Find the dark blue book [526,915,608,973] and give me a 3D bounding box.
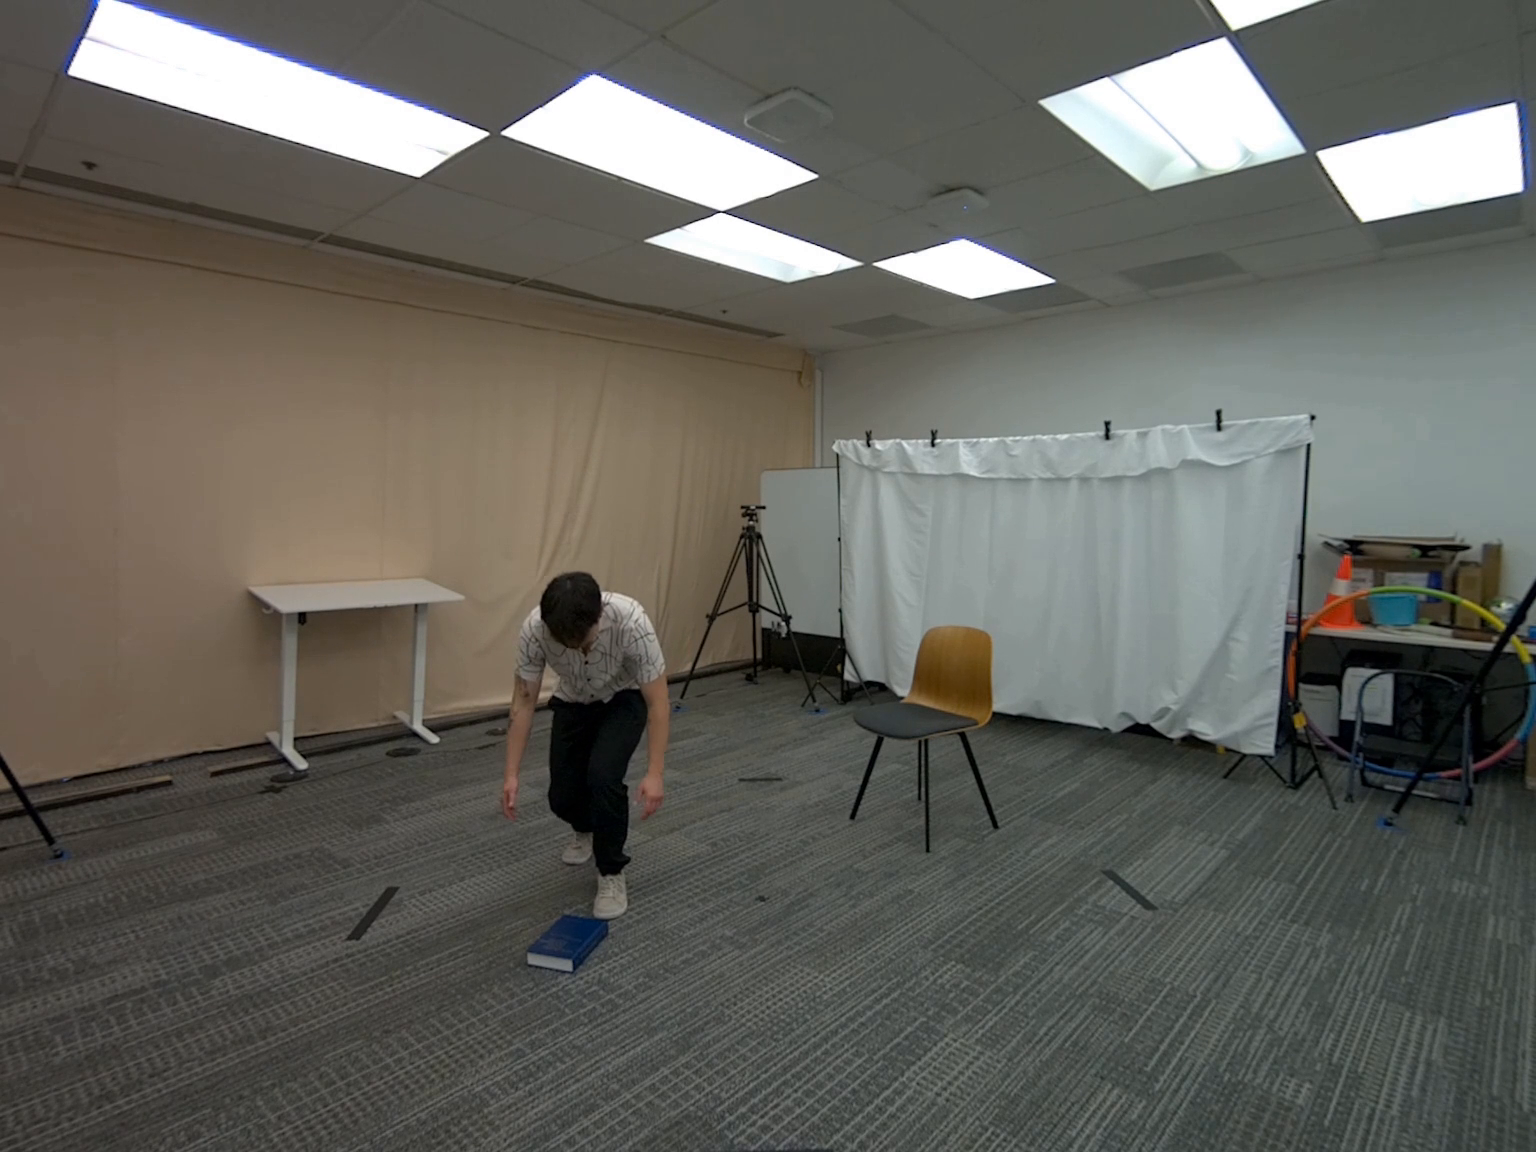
[{"bbox_3d":[-0.630,1.146,2.650,0.166,0.045,0.241,0,5,16],"label":"dark blue book"}]
